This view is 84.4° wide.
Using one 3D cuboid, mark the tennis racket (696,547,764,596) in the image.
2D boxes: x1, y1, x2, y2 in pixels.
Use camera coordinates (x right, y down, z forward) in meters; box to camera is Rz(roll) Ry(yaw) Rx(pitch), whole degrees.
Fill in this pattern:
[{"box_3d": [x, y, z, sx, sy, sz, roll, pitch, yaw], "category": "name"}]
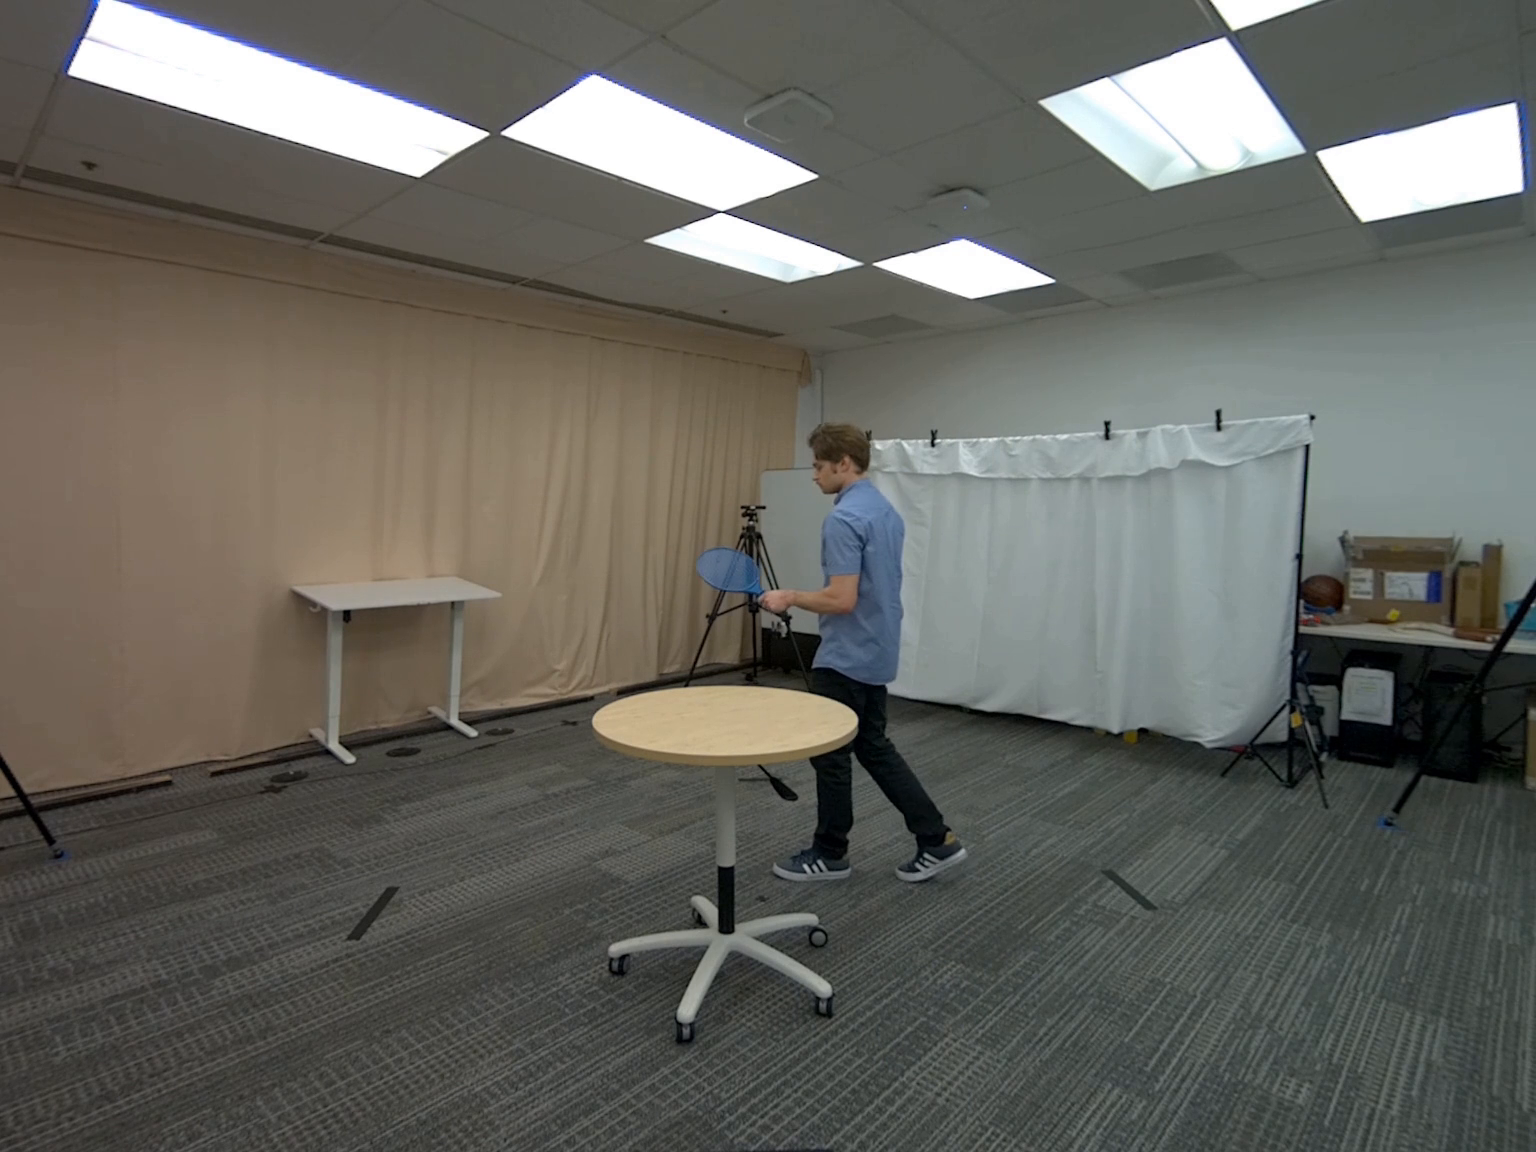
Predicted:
[{"box_3d": [-0.085, 0.023, 3.209, 0.446, 0.031, 0.212, 32, 59, 26], "category": "tennis racket"}]
